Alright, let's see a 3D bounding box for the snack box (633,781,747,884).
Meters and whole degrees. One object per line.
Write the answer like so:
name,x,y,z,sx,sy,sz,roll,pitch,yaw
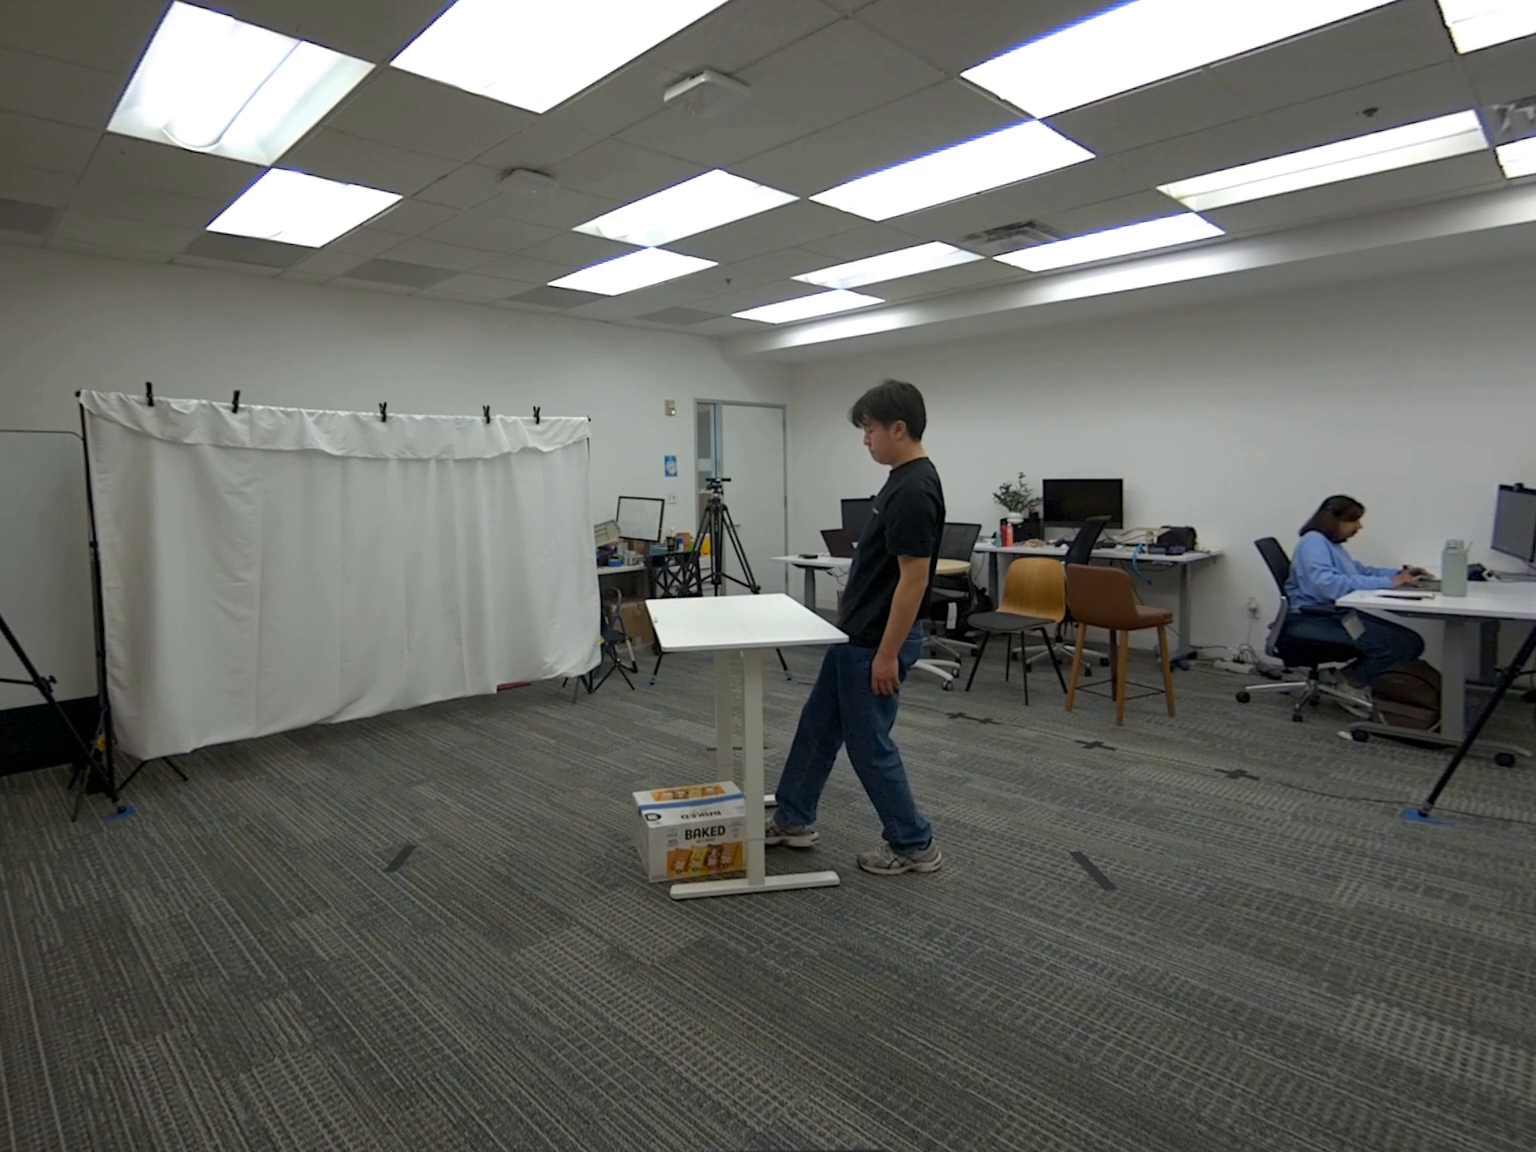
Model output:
snack box,-0.267,0.936,3.162,0.399,0.205,0.347,-3,6,-18
